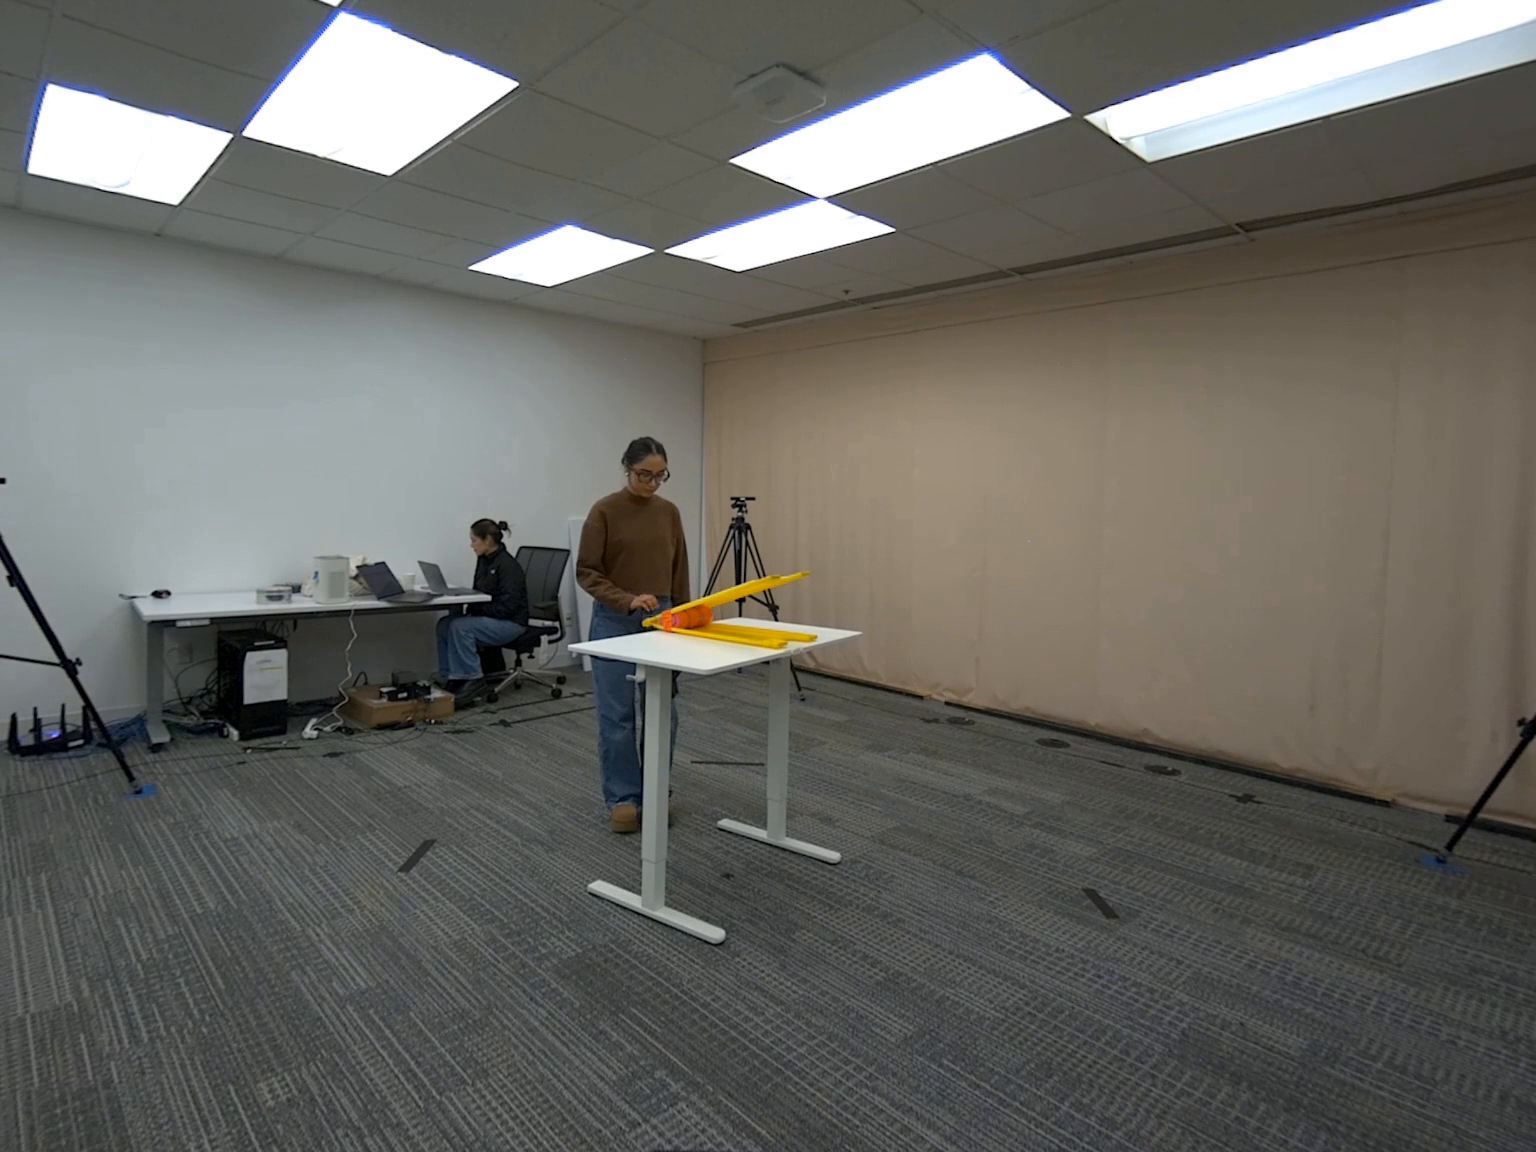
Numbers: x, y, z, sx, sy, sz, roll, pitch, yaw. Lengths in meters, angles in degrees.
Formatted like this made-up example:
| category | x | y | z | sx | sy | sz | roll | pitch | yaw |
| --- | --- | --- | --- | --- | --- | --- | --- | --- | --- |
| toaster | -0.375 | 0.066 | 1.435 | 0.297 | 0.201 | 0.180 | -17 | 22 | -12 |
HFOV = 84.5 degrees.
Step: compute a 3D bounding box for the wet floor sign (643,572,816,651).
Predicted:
| category | x | y | z | sx | sy | sz | roll | pitch | yaw |
| --- | --- | --- | --- | --- | --- | --- | --- | --- | --- |
| wet floor sign | -0.181 | 0.151 | 3.159 | 0.659 | 0.290 | 0.276 | -5 | 0 | 34 |
